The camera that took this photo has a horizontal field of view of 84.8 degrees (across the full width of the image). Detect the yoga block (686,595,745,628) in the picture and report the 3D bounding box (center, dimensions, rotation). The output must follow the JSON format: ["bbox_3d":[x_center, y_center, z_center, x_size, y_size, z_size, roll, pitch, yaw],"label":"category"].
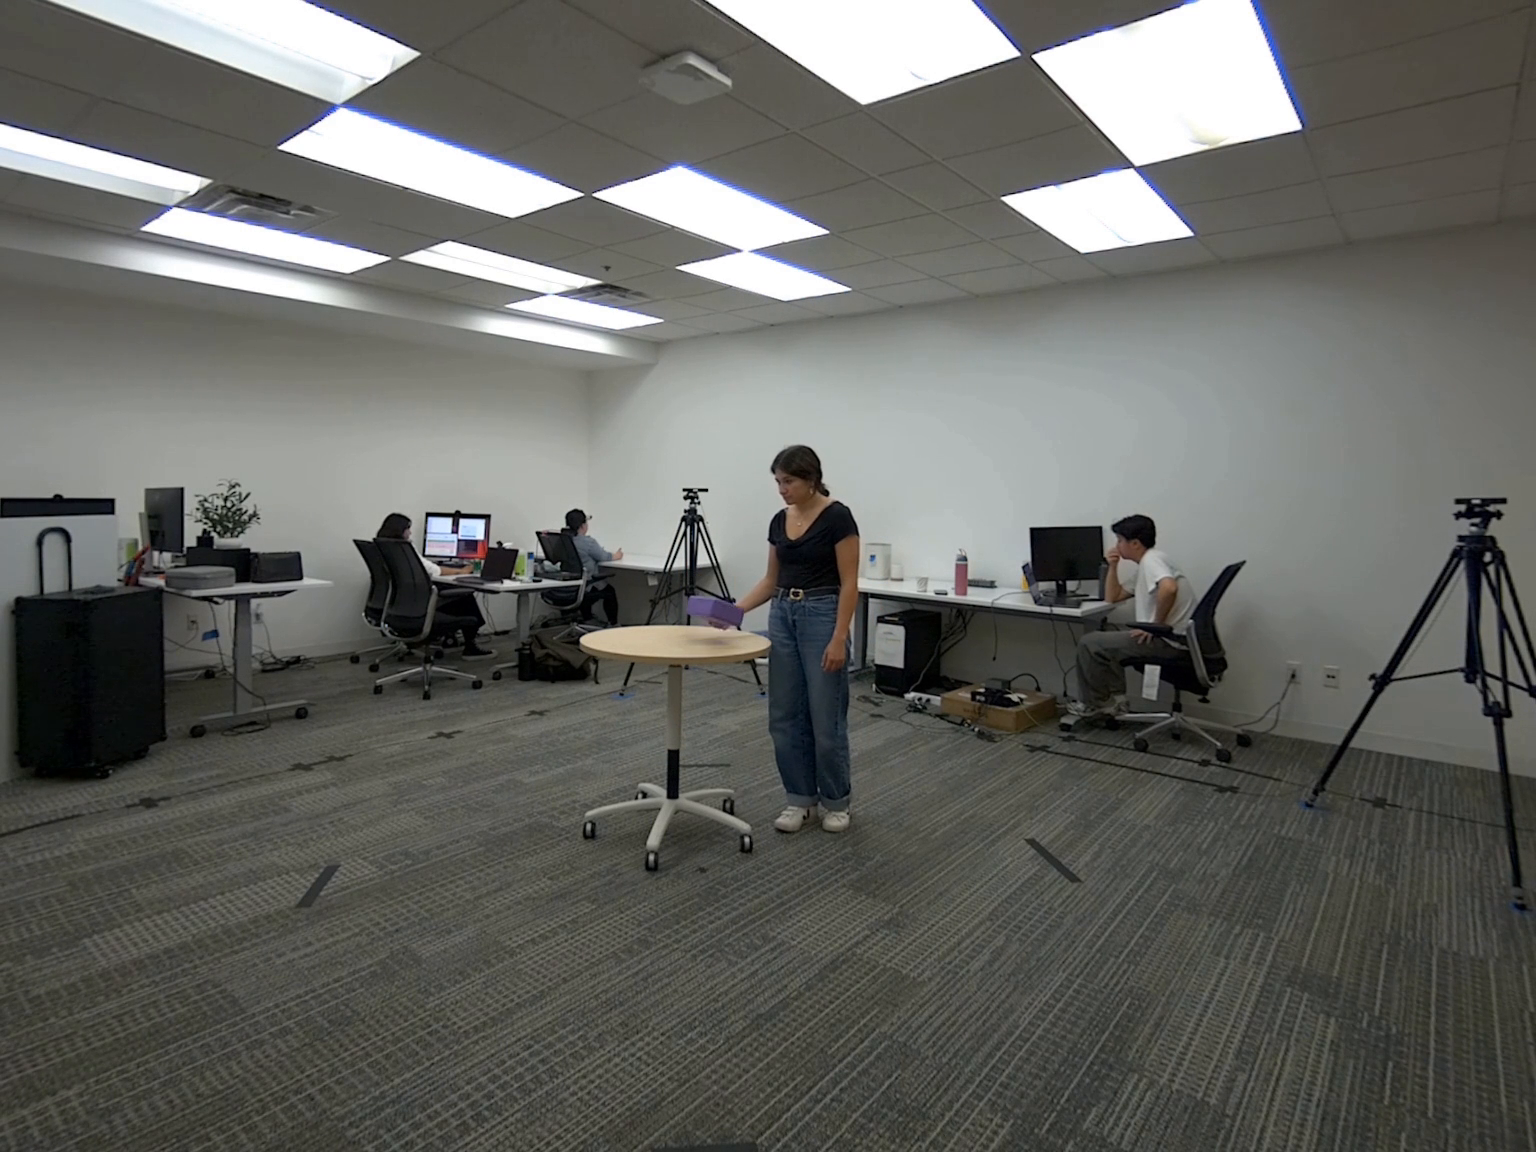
[{"bbox_3d":[-0.218,0.131,3.402,0.144,0.077,0.235,18,-8,-28],"label":"yoga block"}]
